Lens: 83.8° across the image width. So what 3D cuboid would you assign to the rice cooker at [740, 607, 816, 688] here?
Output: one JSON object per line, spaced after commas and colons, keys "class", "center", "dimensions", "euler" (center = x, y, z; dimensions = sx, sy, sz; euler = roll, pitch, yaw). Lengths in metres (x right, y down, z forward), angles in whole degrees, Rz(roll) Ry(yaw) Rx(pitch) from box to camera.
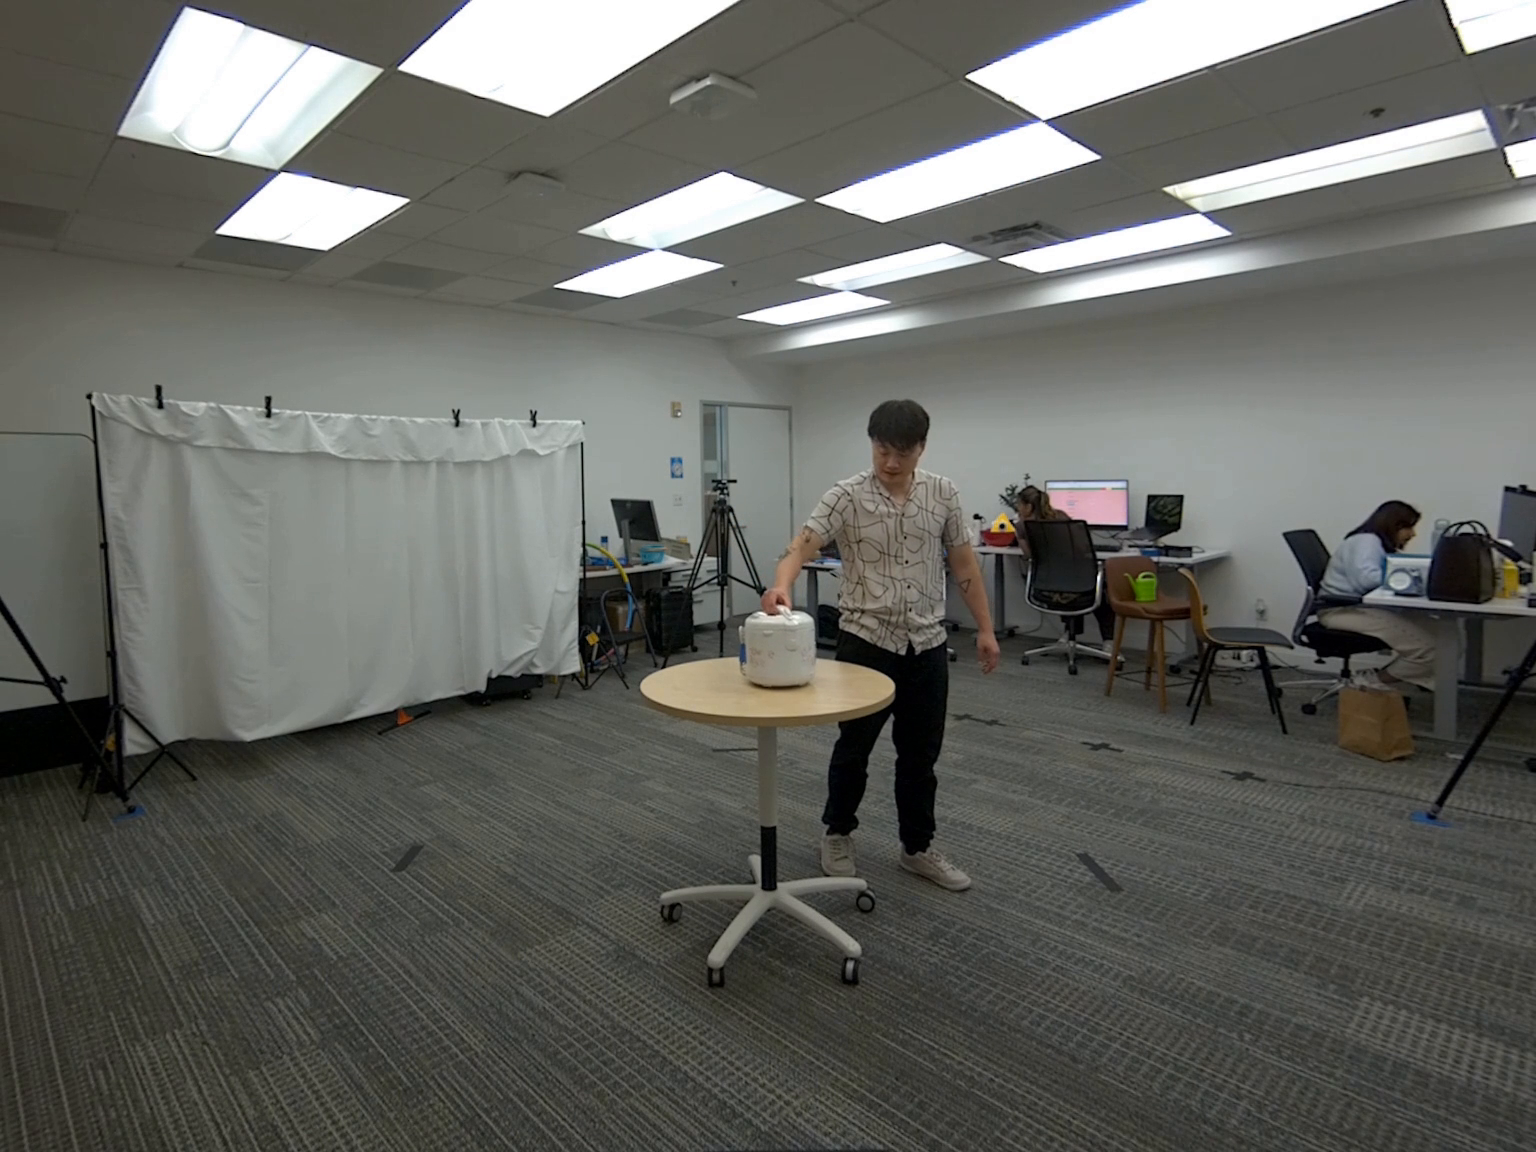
{"class": "rice cooker", "center": [0.036, 0.201, 2.575], "dimensions": [0.214, 0.232, 0.224], "euler": [-2, 3, -17]}
